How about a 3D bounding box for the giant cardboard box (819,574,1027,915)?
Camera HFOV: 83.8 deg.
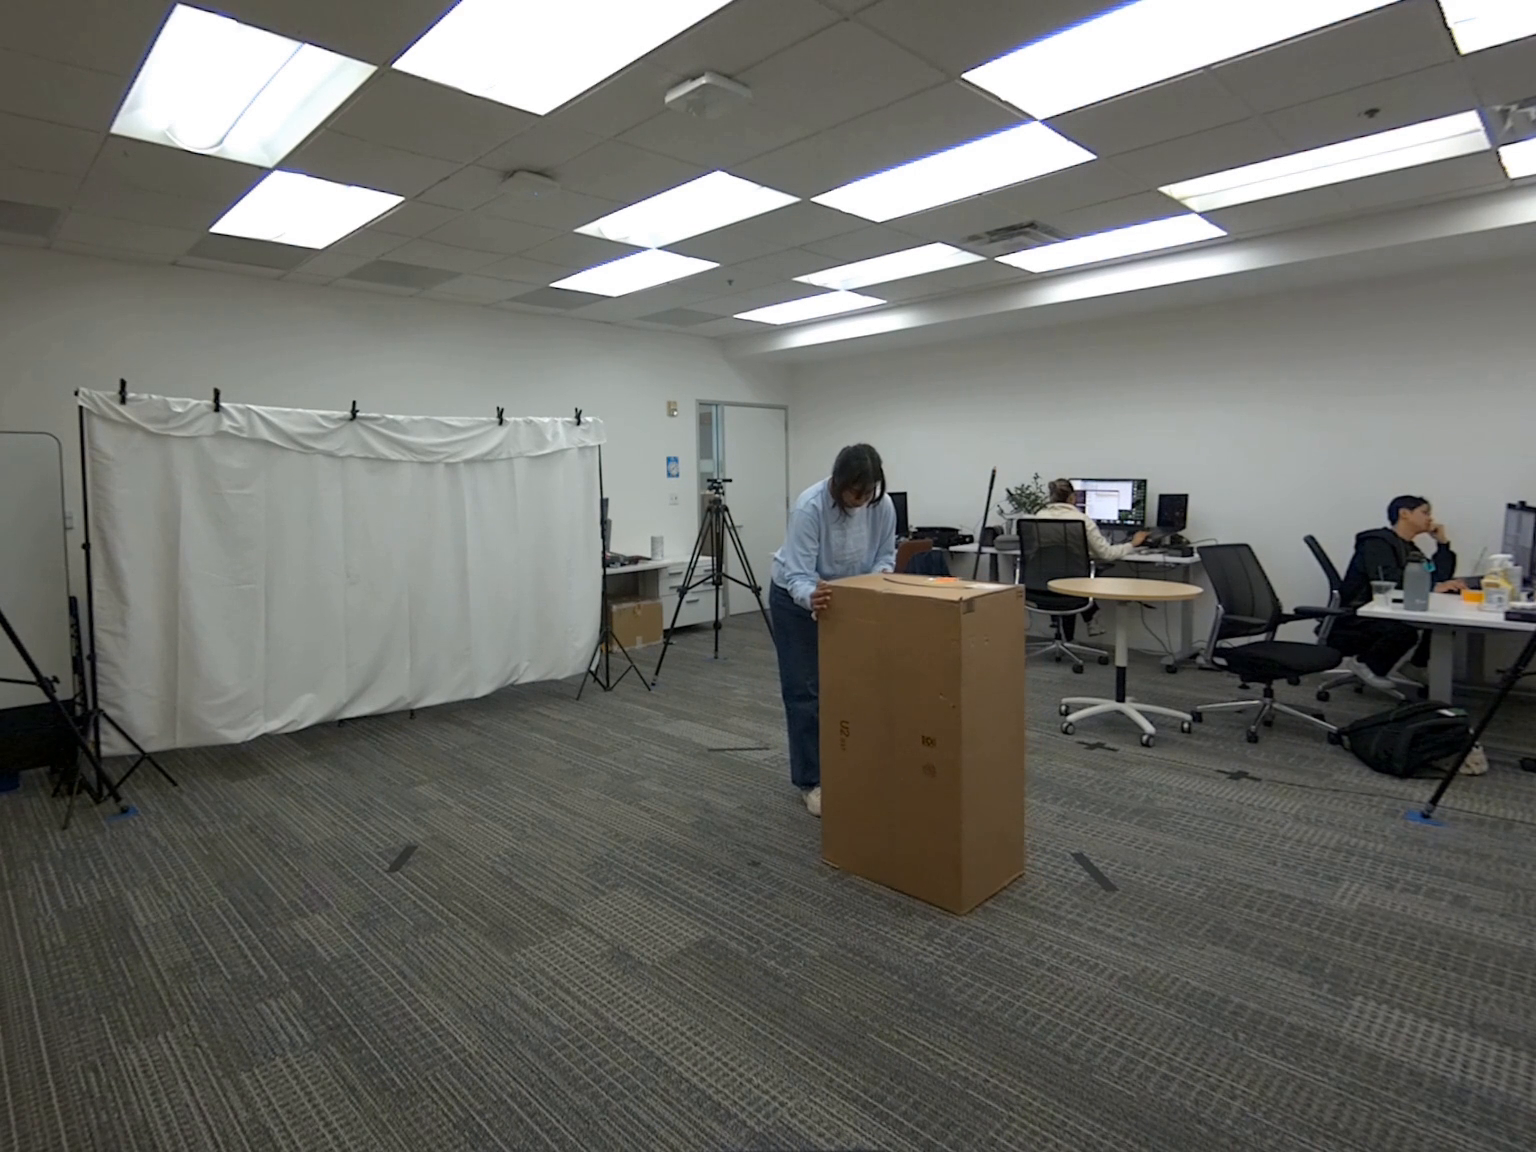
[{"bbox_3d":[0.546,0.540,3.016,0.595,1.022,0.415,4,6,44],"label":"giant cardboard box"}]
